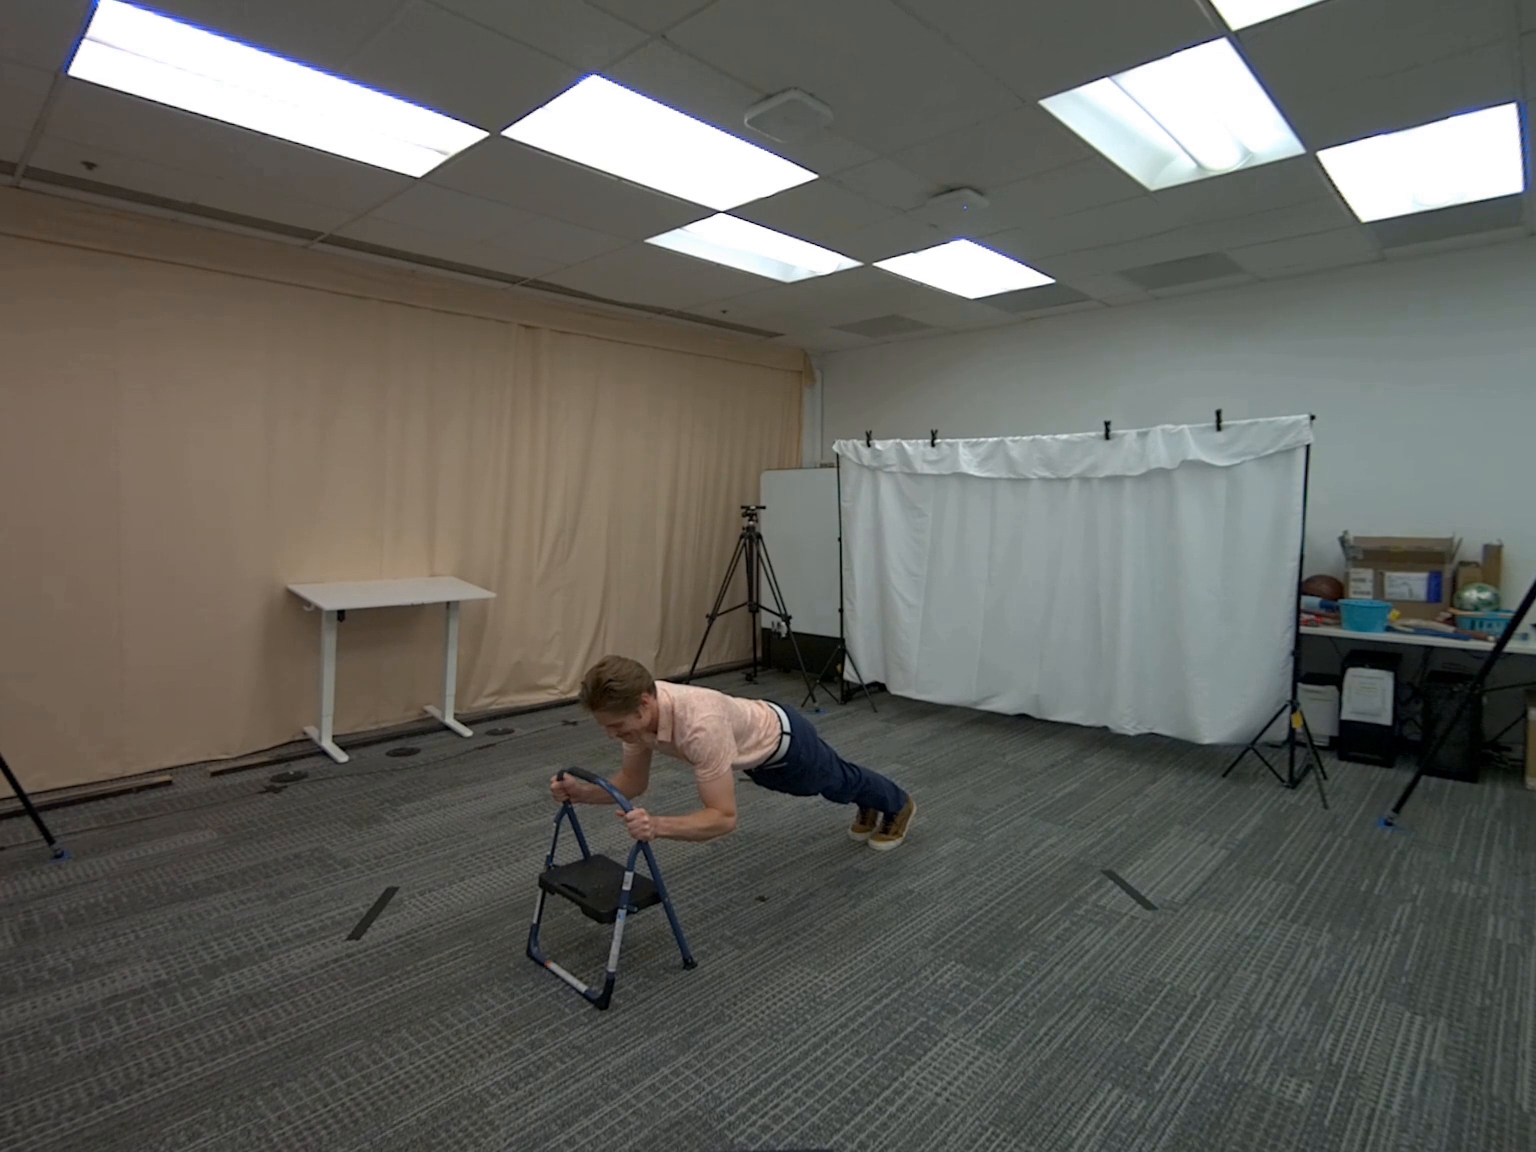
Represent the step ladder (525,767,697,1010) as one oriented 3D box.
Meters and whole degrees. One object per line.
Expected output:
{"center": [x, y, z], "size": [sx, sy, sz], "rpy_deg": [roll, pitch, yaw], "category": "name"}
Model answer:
{"center": [-0.489, 0.883, 2.565], "size": [0.445, 0.605, 0.338], "rpy_deg": [3, 5, 44], "category": "step ladder"}
